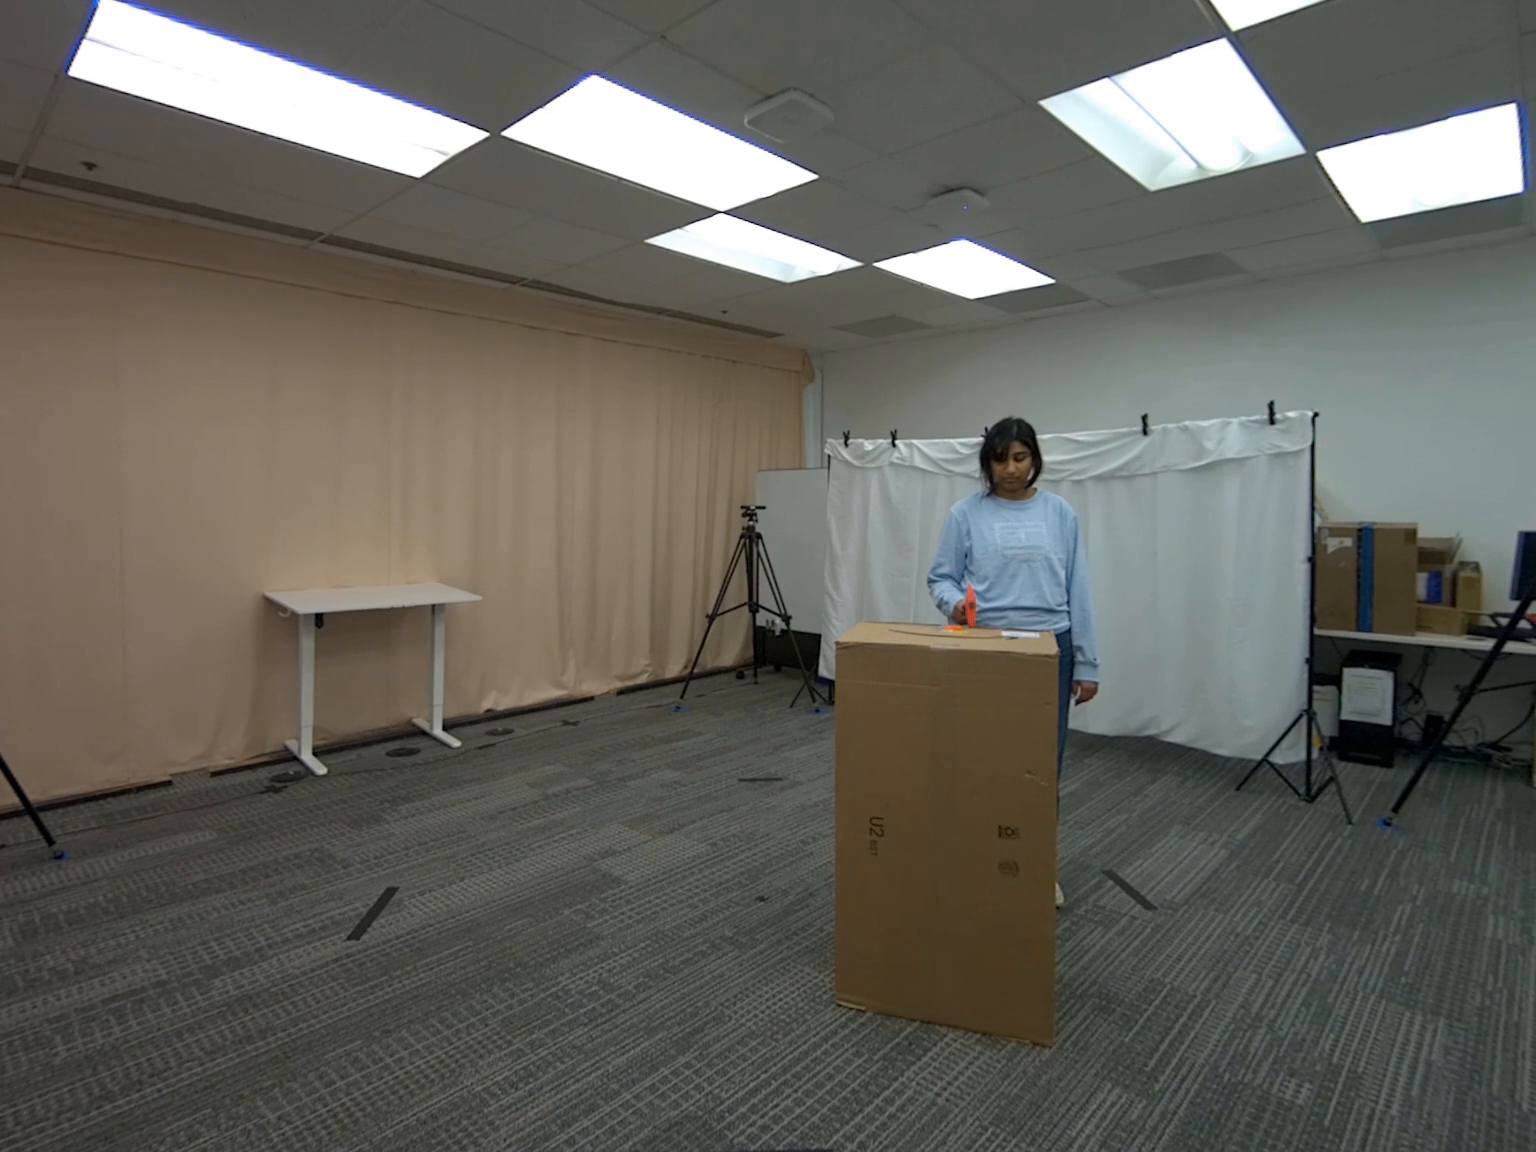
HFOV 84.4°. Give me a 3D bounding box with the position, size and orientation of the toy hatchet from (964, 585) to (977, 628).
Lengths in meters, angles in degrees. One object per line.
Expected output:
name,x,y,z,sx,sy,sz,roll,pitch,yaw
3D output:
toy hatchet,0.646,0.131,2.655,0.030,0.133,0.264,-5,-25,6
